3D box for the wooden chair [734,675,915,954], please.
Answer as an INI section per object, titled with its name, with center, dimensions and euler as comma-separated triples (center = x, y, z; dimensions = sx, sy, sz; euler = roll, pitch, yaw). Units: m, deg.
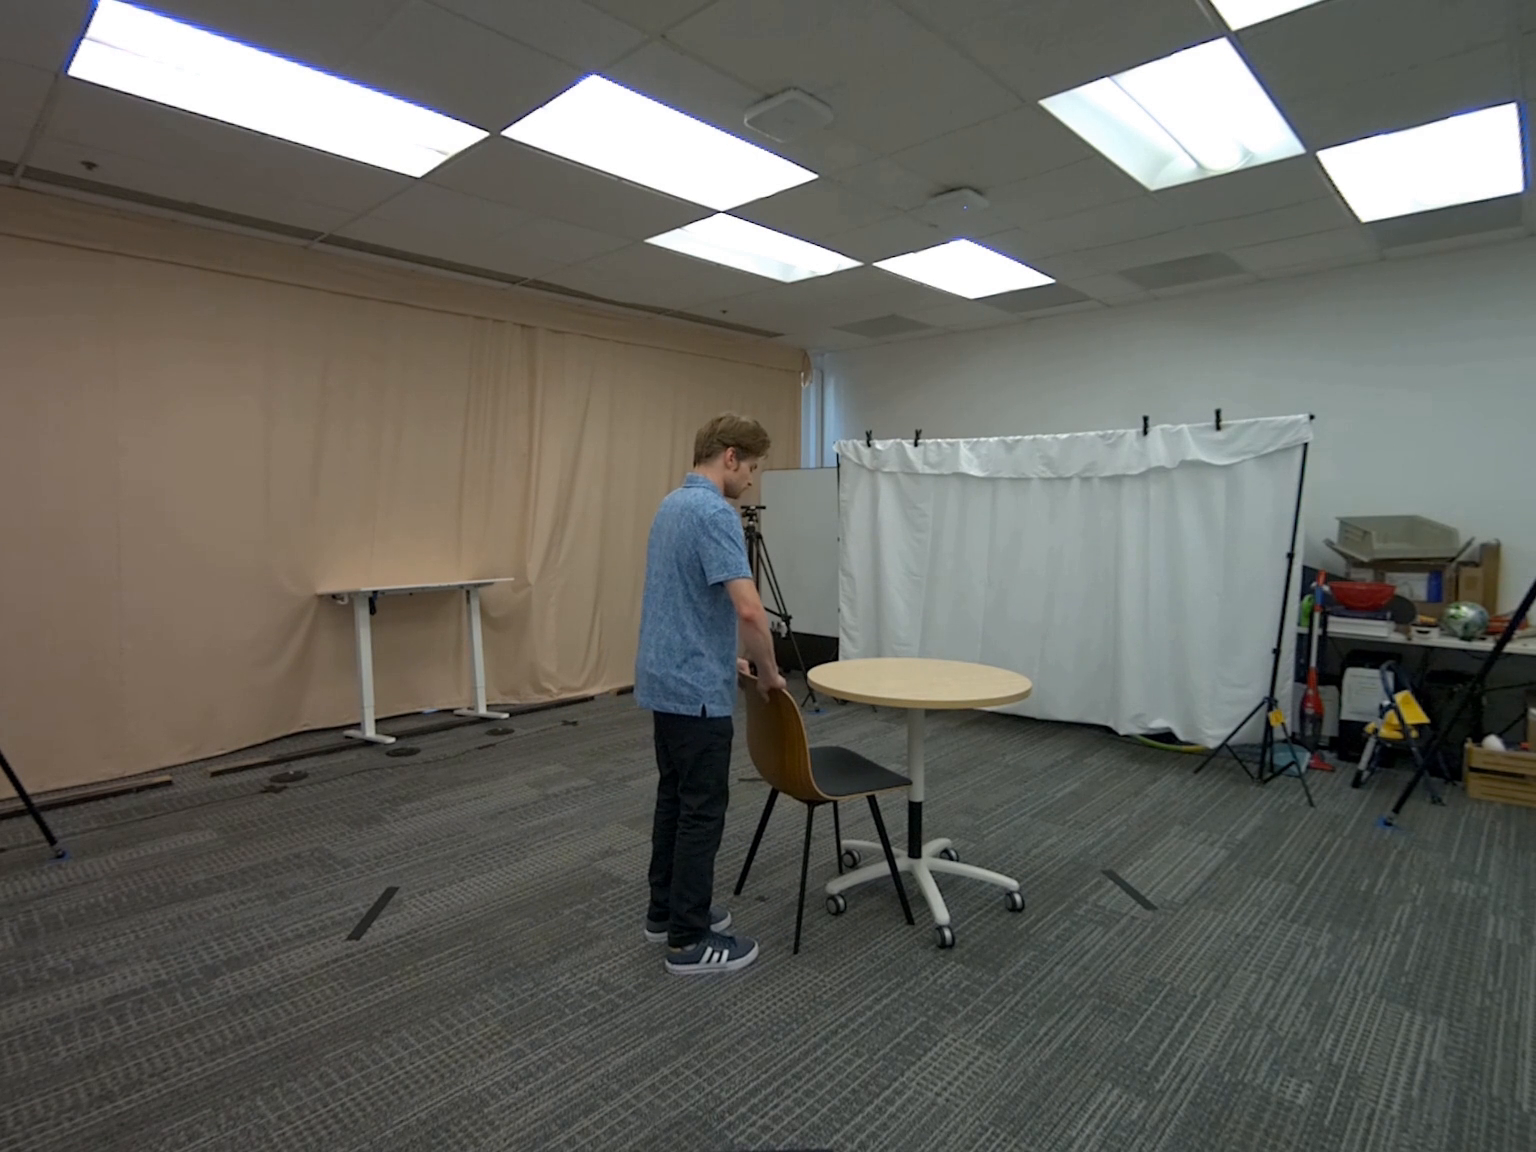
[wooden chair]
center = 0.190, 0.723, 2.873
dimensions = 0.511, 0.874, 0.491
euler = -5, 5, -25
